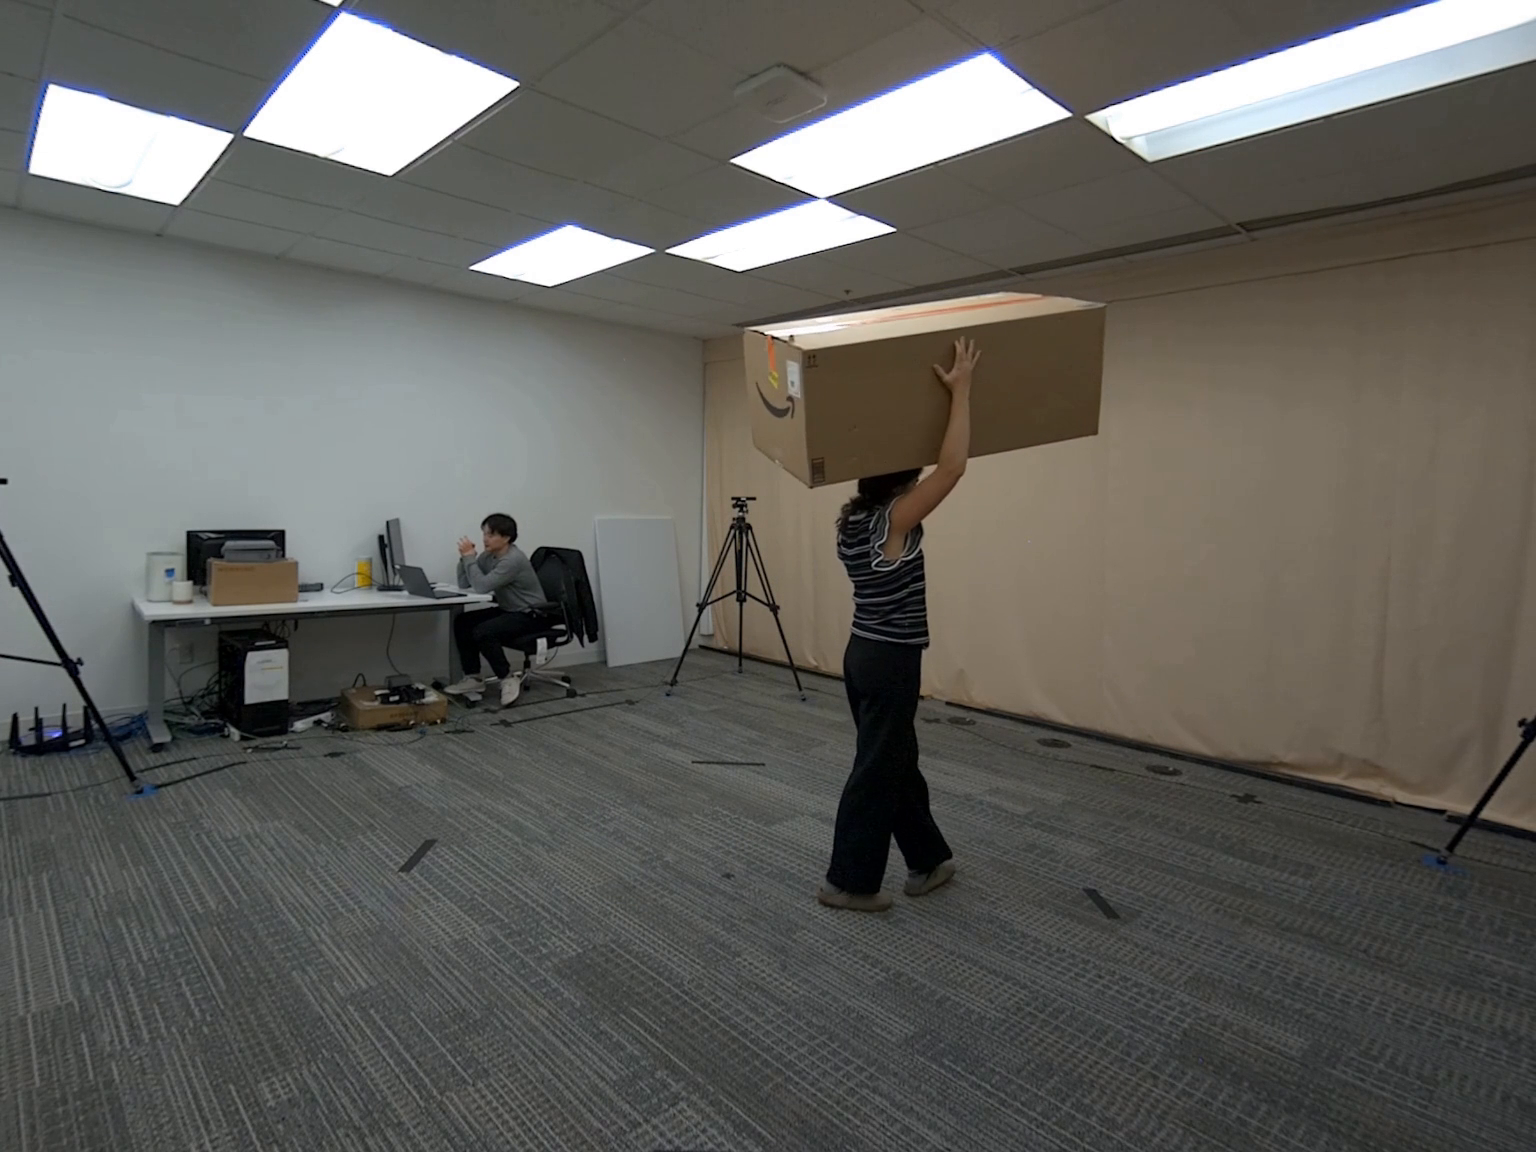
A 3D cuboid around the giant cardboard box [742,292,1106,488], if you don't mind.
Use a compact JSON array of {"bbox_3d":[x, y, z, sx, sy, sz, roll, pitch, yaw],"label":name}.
[{"bbox_3d":[0.494,-0.659,2.841,1.017,0.419,0.592,-12,24,-14],"label":"giant cardboard box"}]
